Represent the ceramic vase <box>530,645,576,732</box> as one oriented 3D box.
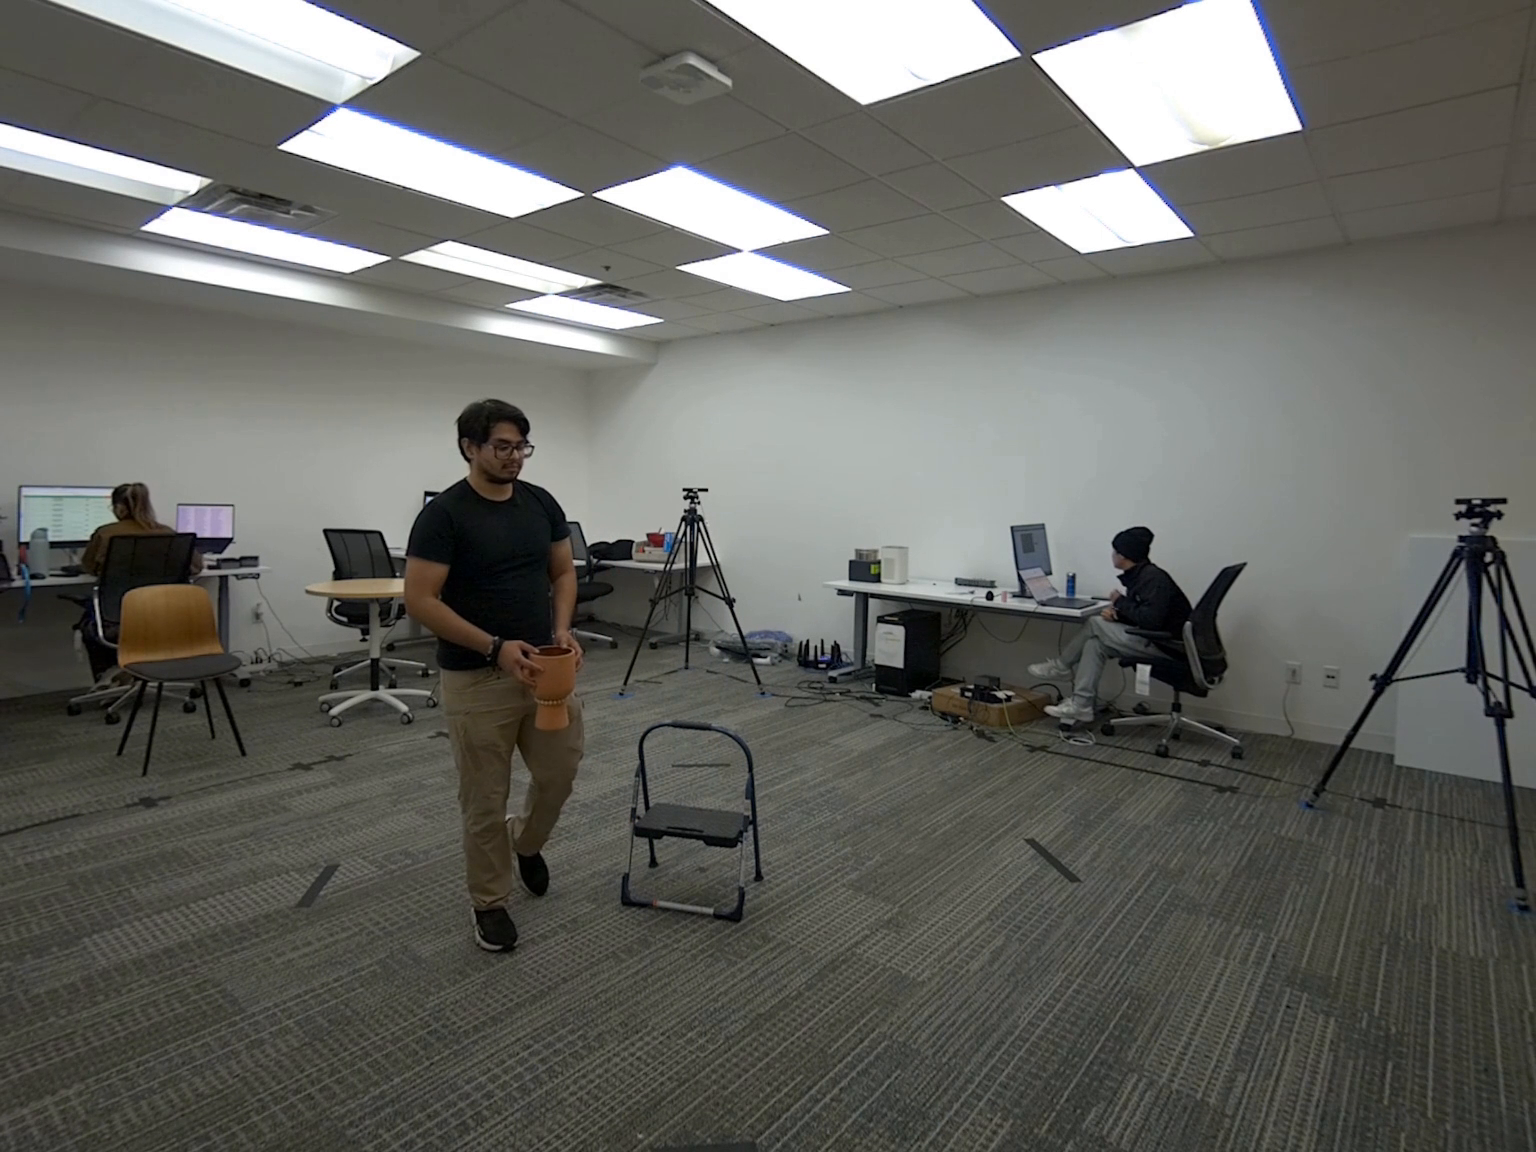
[{"bbox_3d":[-0.636,0.321,2.468,0.158,0.218,0.136,-2,6,-7],"label":"ceramic vase"}]
